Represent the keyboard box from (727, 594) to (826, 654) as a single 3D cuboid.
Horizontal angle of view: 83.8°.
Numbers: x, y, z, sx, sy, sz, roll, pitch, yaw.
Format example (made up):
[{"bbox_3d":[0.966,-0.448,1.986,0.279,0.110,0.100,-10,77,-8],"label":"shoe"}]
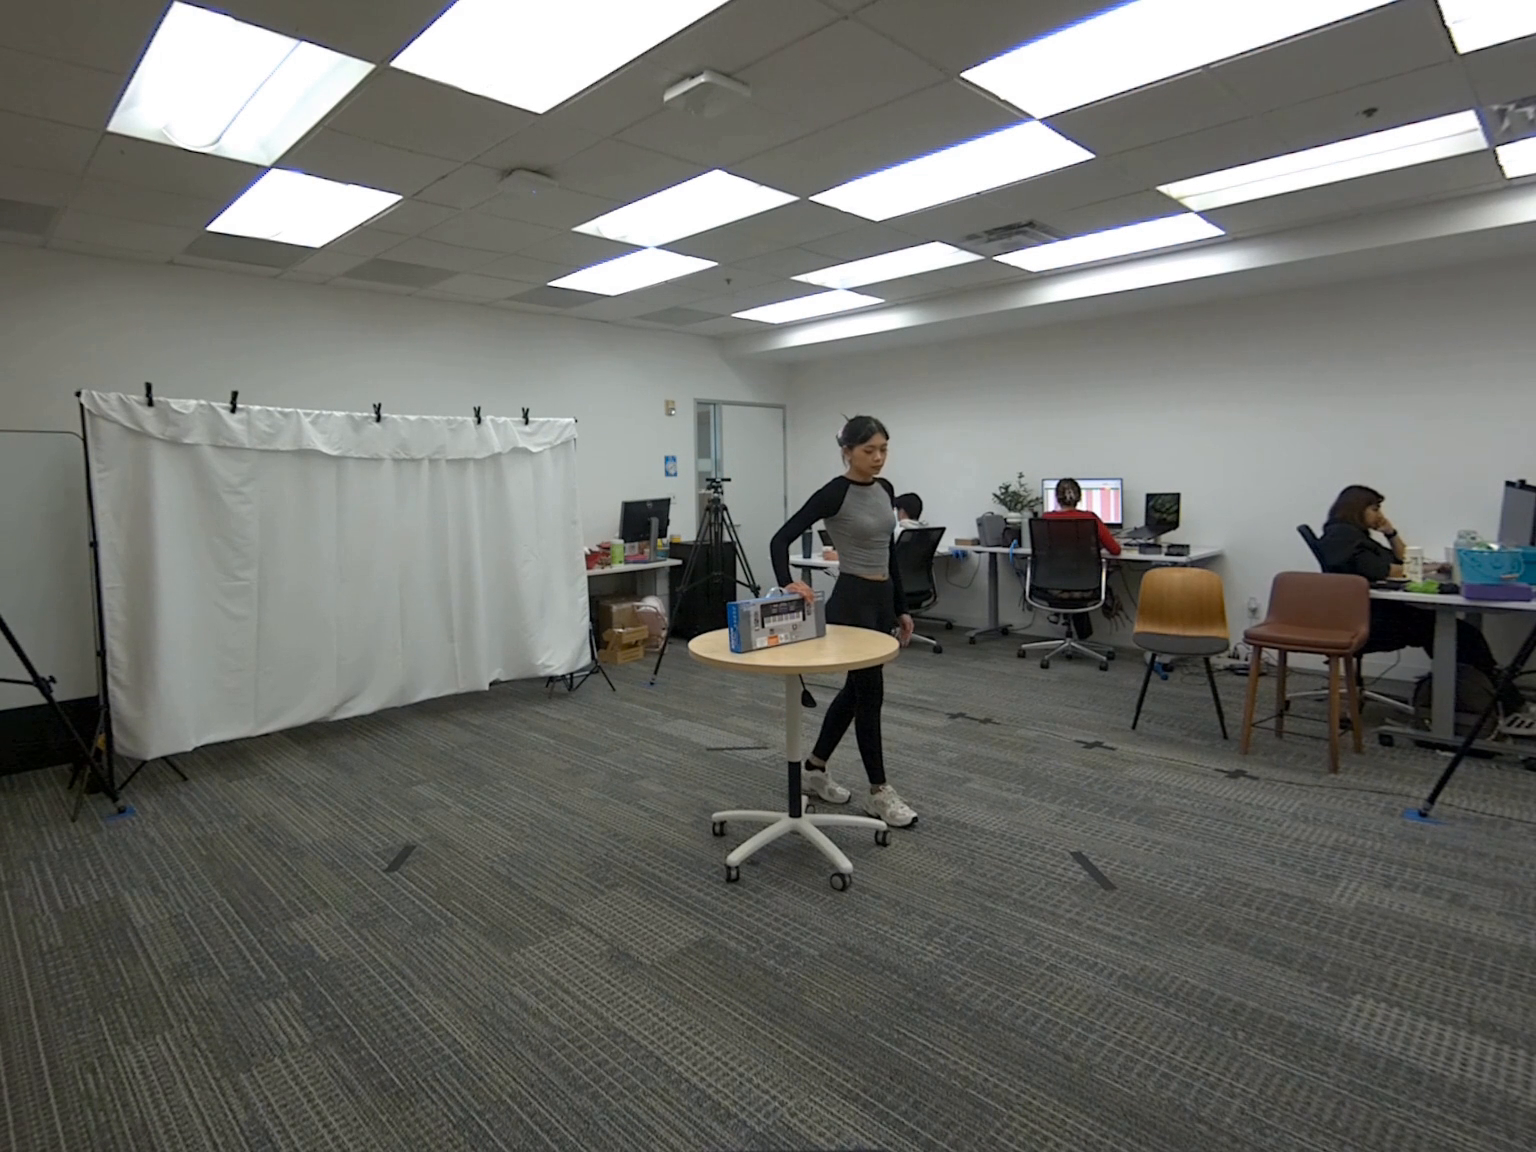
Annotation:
[{"bbox_3d":[0.040,0.162,3.104,0.425,0.176,0.061,-6,3,-42],"label":"keyboard box"}]
